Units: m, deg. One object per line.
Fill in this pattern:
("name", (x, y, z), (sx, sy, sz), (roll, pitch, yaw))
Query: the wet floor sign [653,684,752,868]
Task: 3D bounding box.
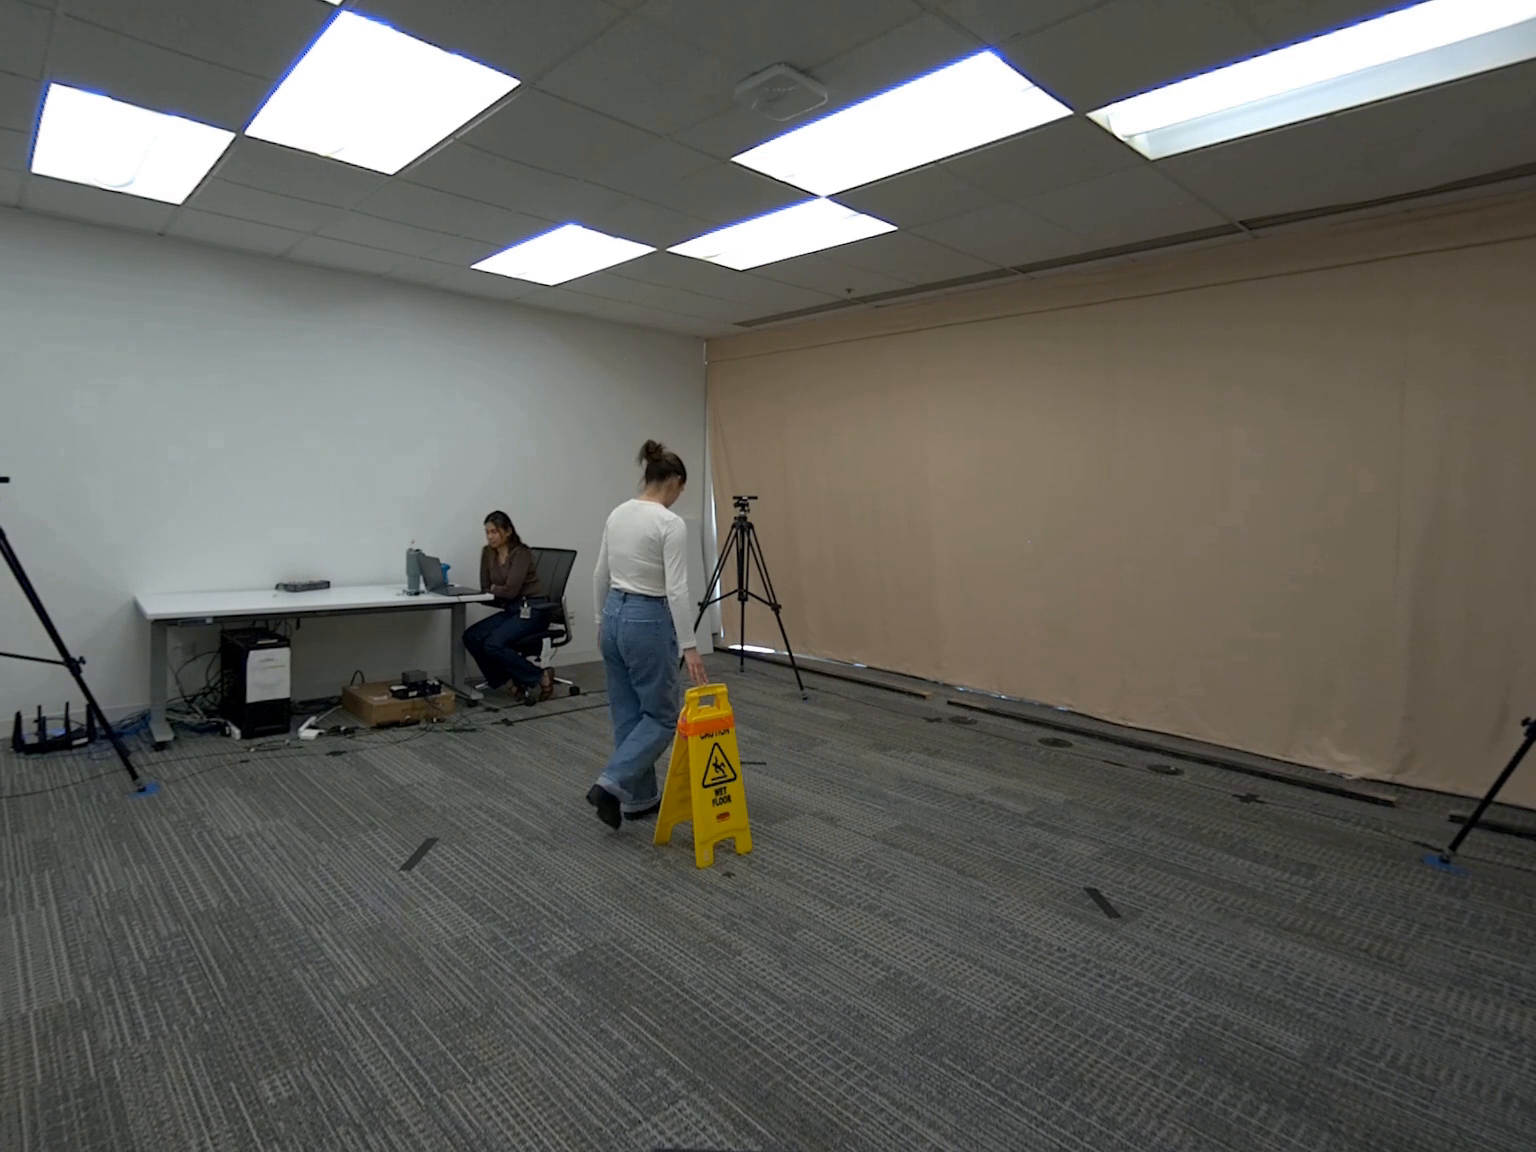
("wet floor sign", (-0.260, 0.756, 3.325), (0.275, 0.645, 0.297), (-1, 3, -44))
